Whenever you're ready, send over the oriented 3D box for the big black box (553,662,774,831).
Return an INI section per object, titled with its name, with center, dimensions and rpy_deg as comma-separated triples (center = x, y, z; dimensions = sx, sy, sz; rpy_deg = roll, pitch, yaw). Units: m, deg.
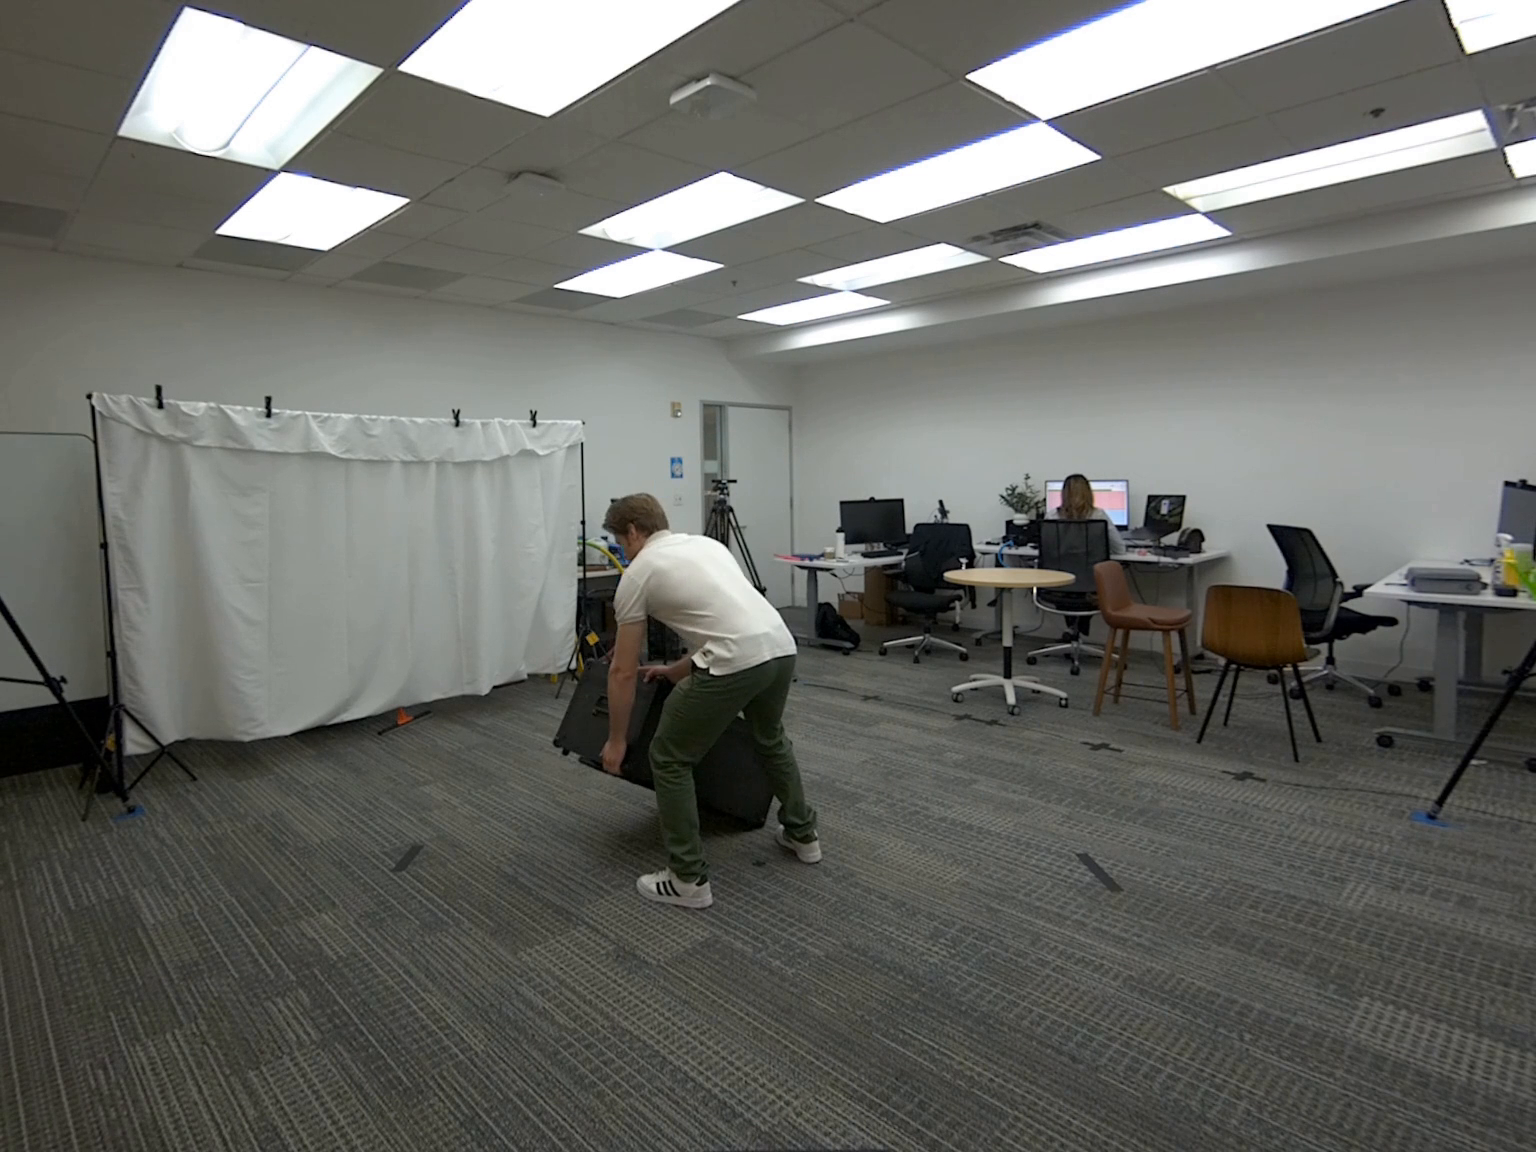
[big black box]
center = -0.353, 0.694, 3.448
dimensions = 0.537, 0.399, 0.829
rpy_deg = 4, -22, 46
